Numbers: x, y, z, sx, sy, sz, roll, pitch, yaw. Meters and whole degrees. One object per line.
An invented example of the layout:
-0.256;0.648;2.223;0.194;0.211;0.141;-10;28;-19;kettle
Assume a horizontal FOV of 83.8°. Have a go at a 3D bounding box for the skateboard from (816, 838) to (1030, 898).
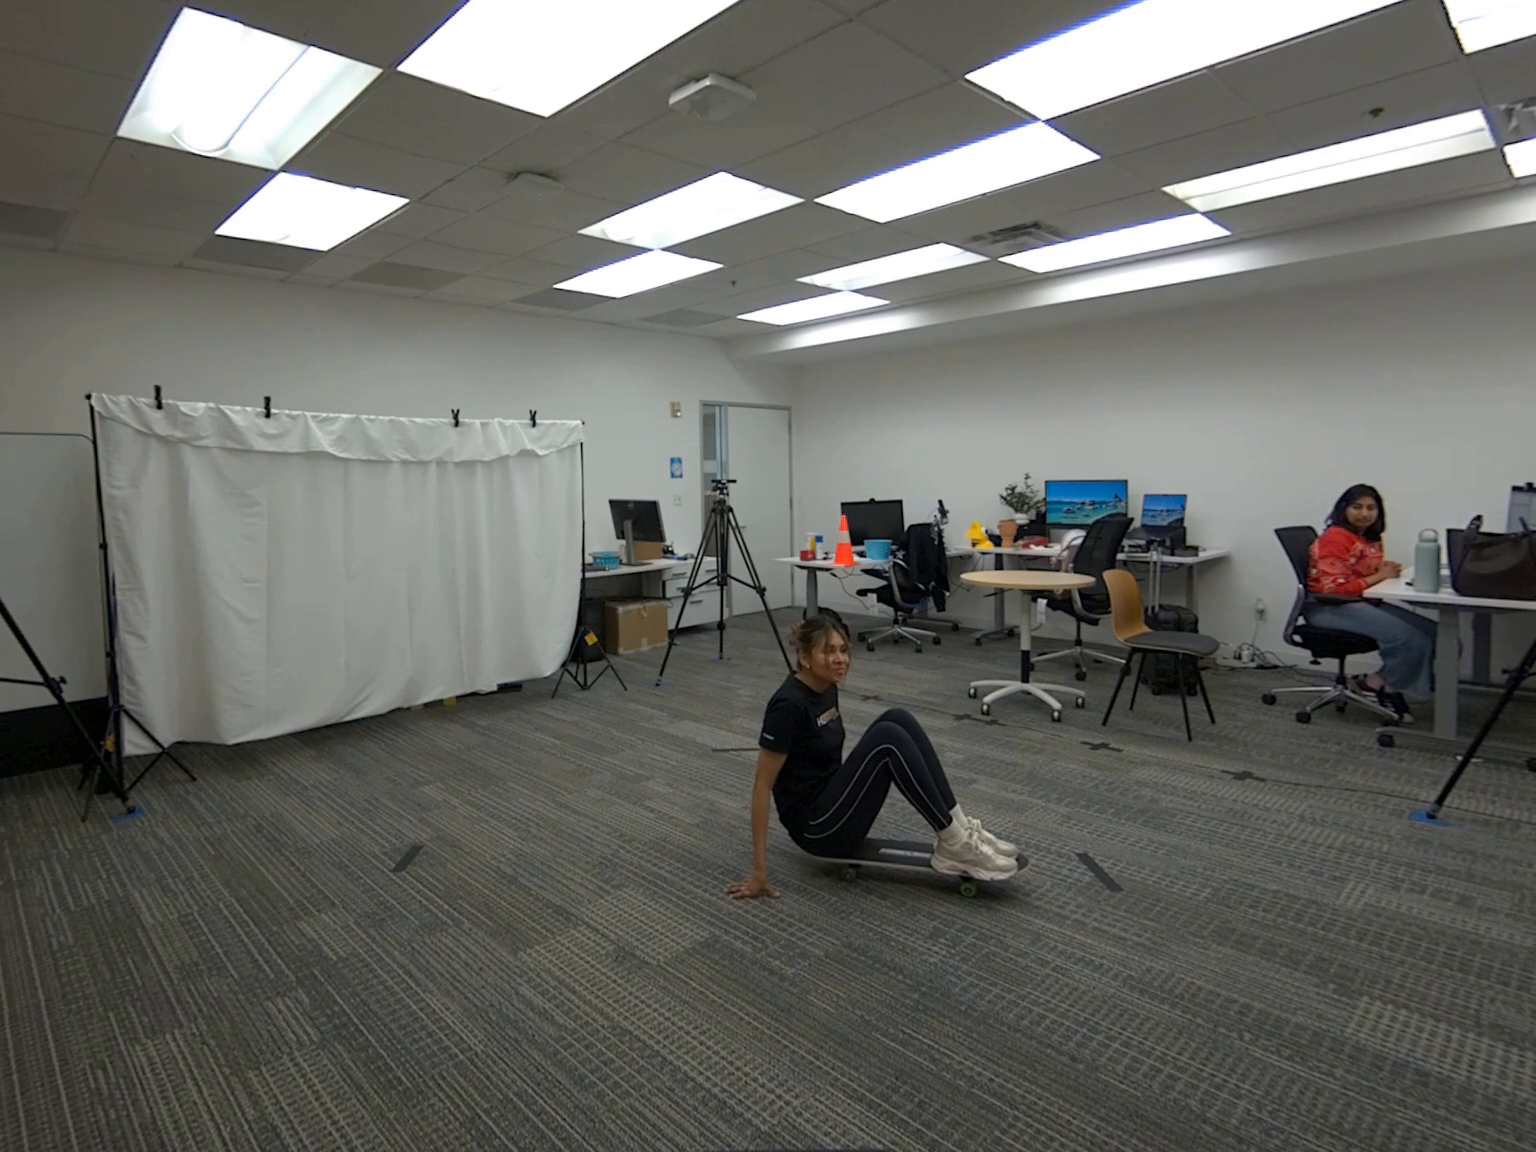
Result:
0.483;0.999;2.962;0.799;0.109;0.191;1;9;18;skateboard
